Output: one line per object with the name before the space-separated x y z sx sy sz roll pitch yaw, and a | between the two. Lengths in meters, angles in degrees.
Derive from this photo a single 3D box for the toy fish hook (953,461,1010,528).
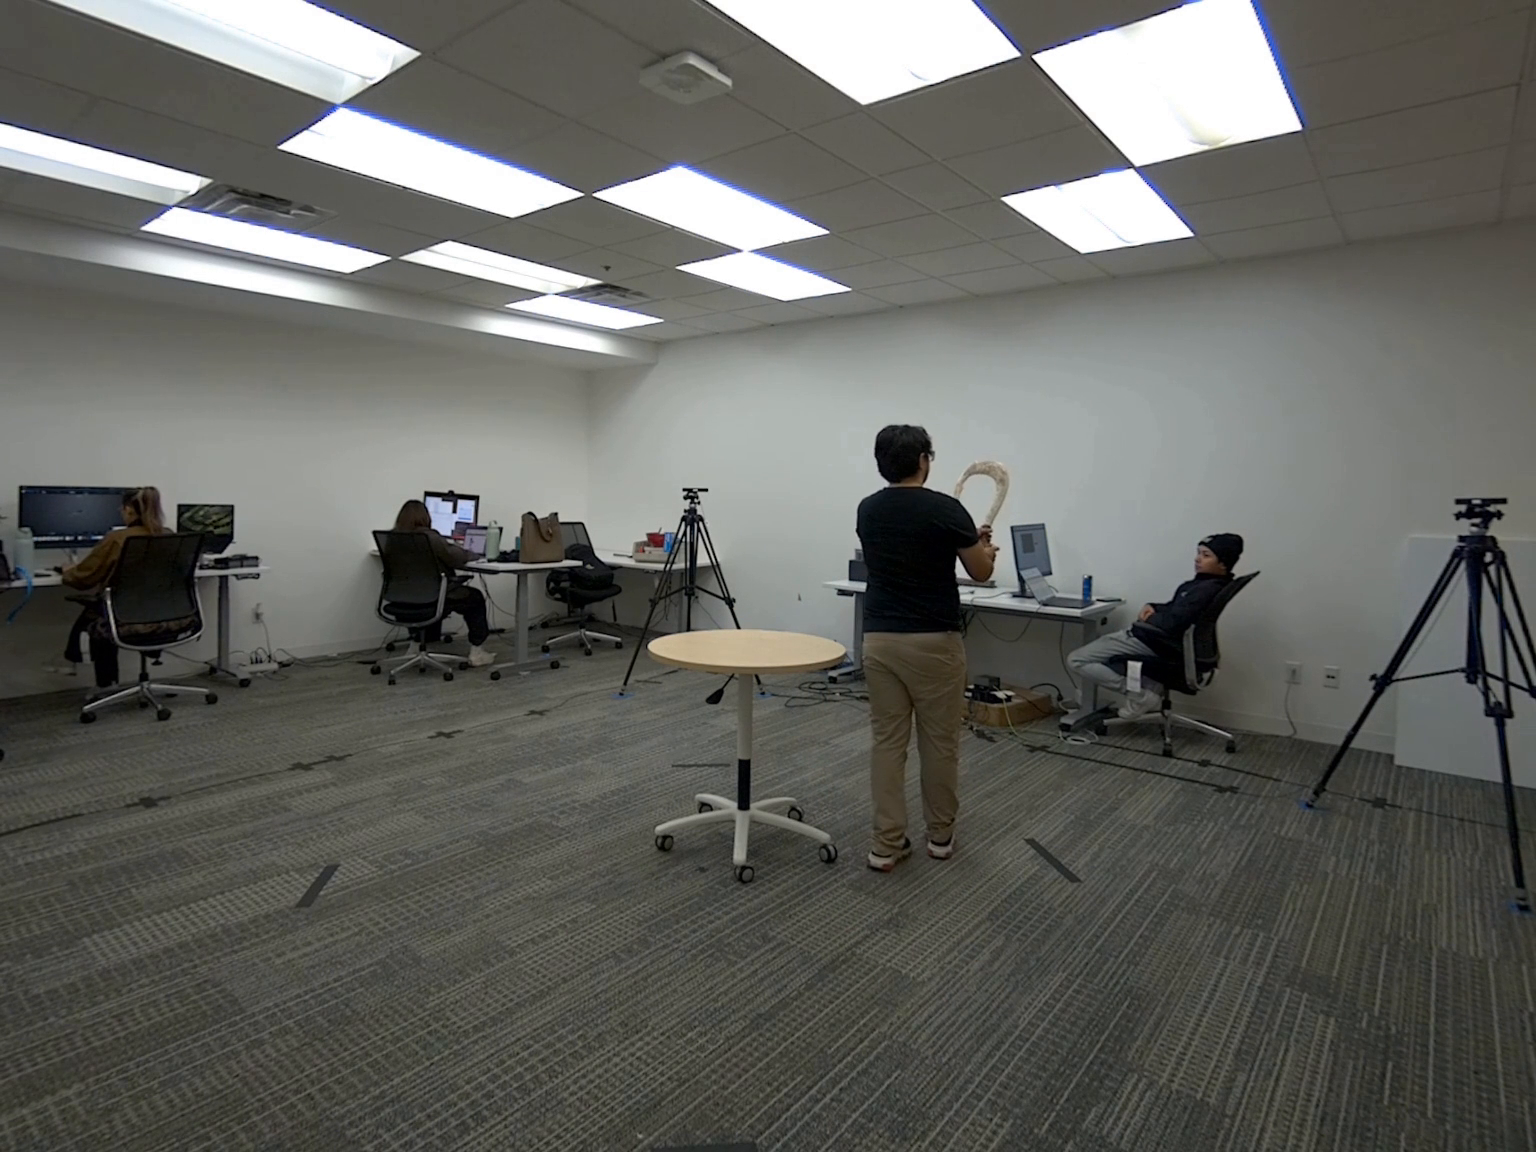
toy fish hook | 0.884 -0.263 3.602 0.231 0.512 0.046 2 -20 33
